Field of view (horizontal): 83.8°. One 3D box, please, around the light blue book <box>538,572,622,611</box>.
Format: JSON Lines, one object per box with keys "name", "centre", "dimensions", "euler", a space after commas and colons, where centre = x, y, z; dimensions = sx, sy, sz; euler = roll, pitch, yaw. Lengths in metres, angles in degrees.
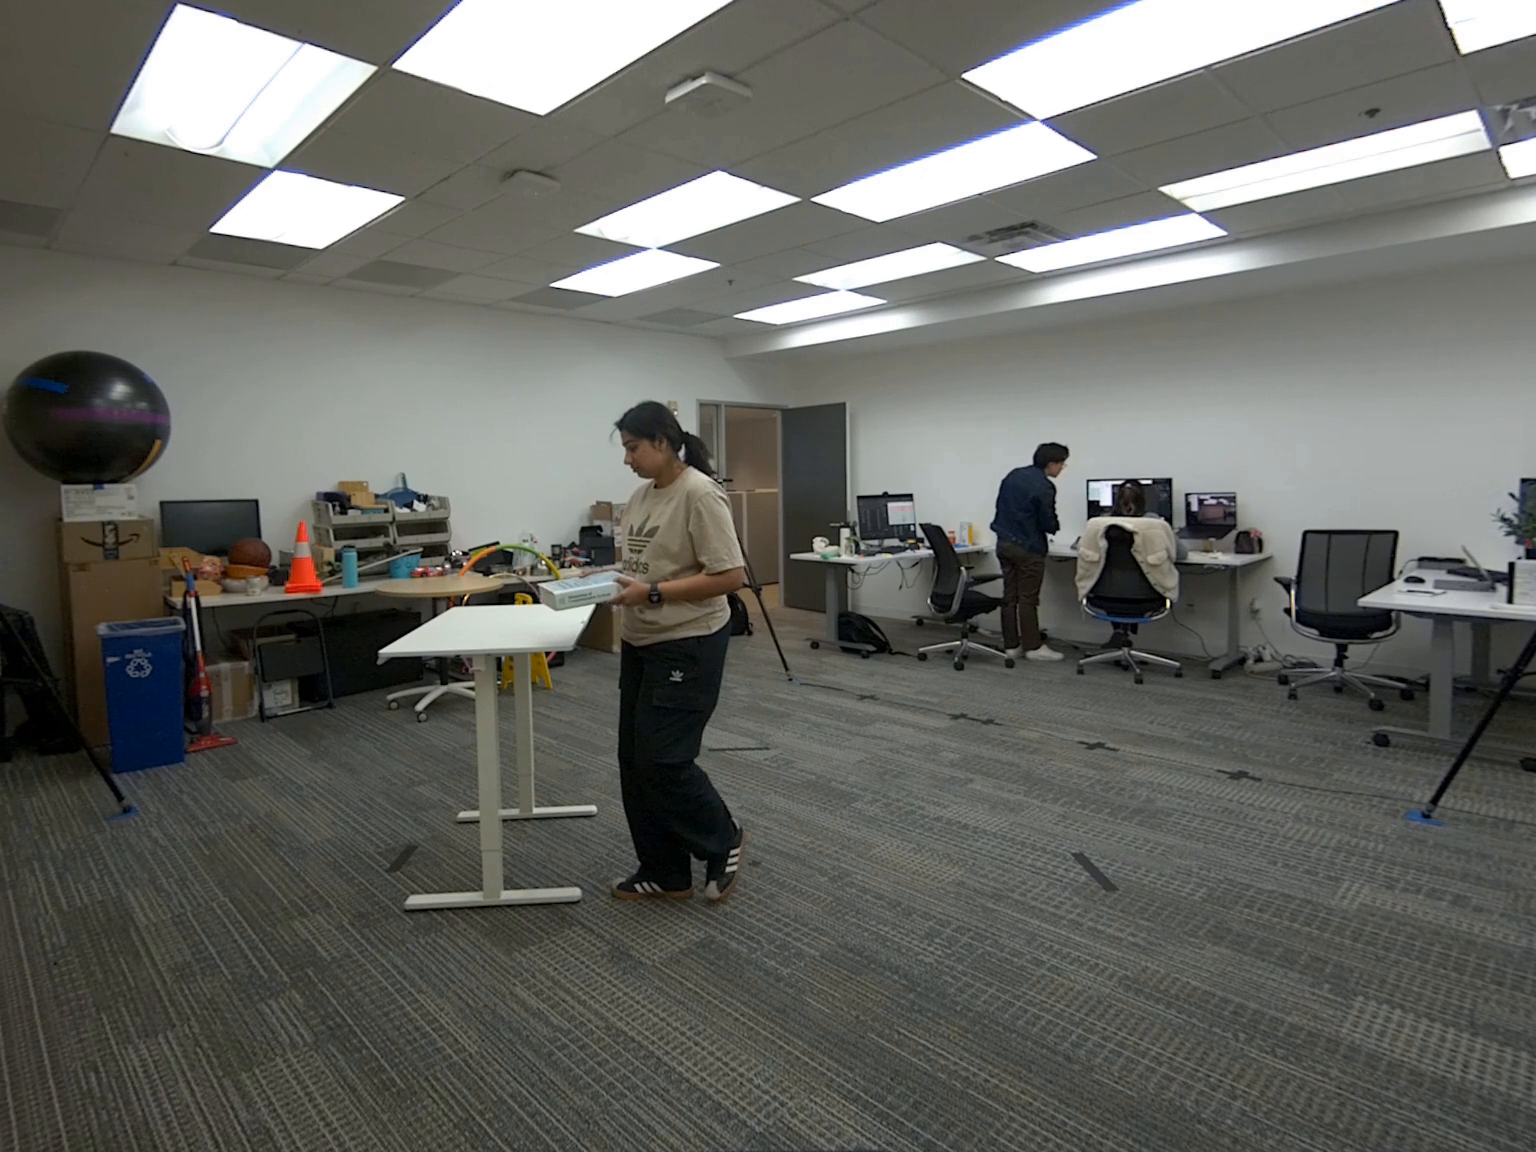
{"name": "light blue book", "centre": [-0.614, 0.050, 2.696], "dimensions": [0.188, 0.058, 0.269], "euler": [-11, 13, -28]}
